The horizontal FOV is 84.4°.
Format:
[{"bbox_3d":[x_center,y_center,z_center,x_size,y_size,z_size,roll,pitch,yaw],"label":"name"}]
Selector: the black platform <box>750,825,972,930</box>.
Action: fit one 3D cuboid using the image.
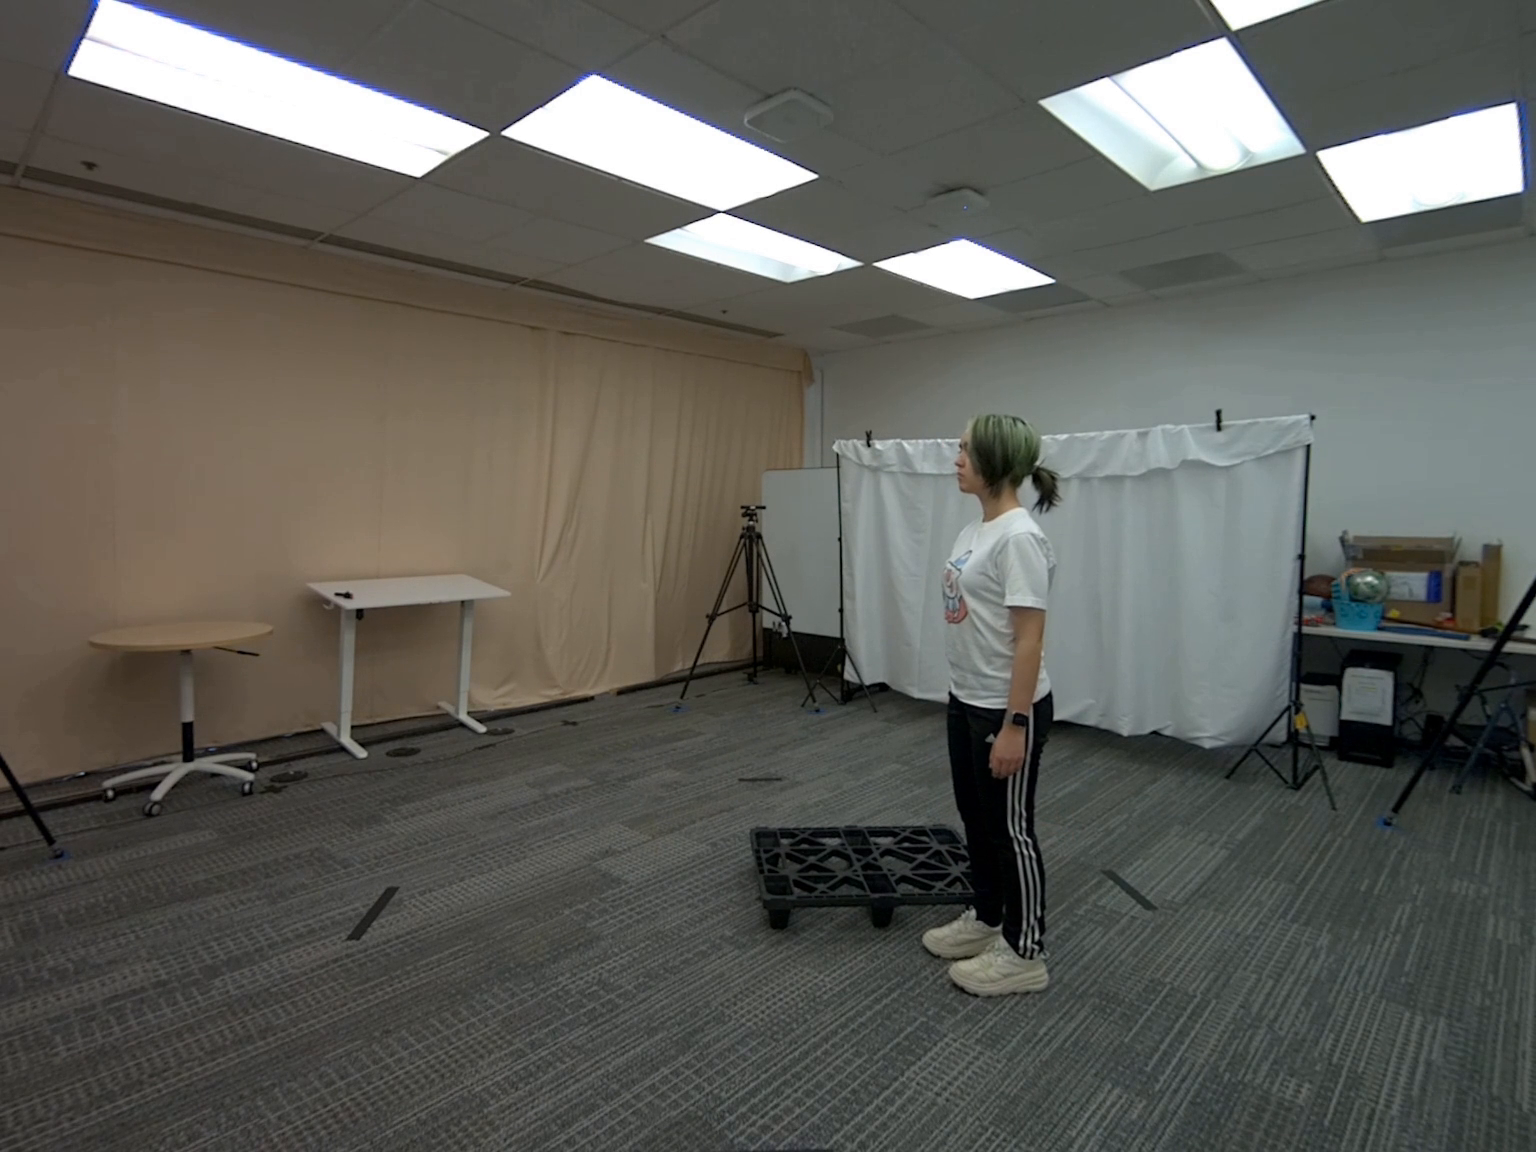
[{"bbox_3d":[0.353,1.071,3.012,0.804,0.143,0.608,0,4,-3],"label":"black platform"}]
